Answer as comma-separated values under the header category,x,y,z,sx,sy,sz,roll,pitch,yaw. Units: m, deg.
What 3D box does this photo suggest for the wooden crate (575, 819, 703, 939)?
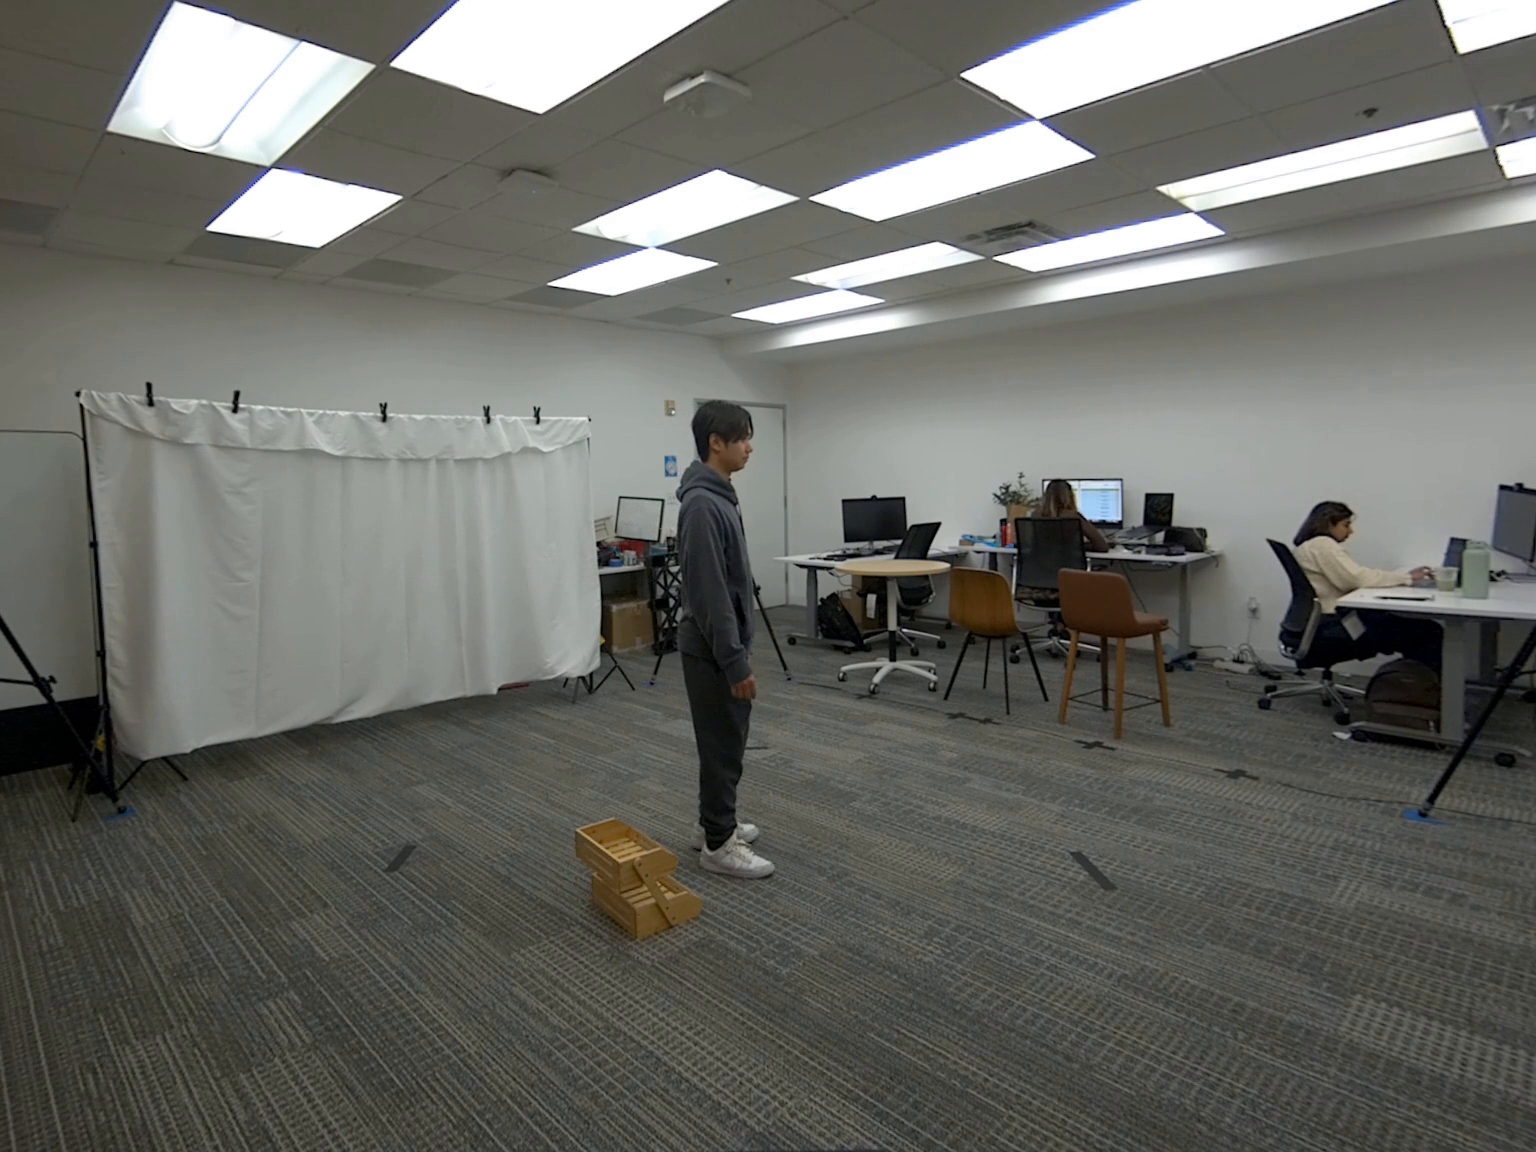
category,x,y,z,sx,sy,sz,roll,pitch,yaw
wooden crate,-0.415,0.955,2.771,0.294,0.272,0.334,-6,8,-37
